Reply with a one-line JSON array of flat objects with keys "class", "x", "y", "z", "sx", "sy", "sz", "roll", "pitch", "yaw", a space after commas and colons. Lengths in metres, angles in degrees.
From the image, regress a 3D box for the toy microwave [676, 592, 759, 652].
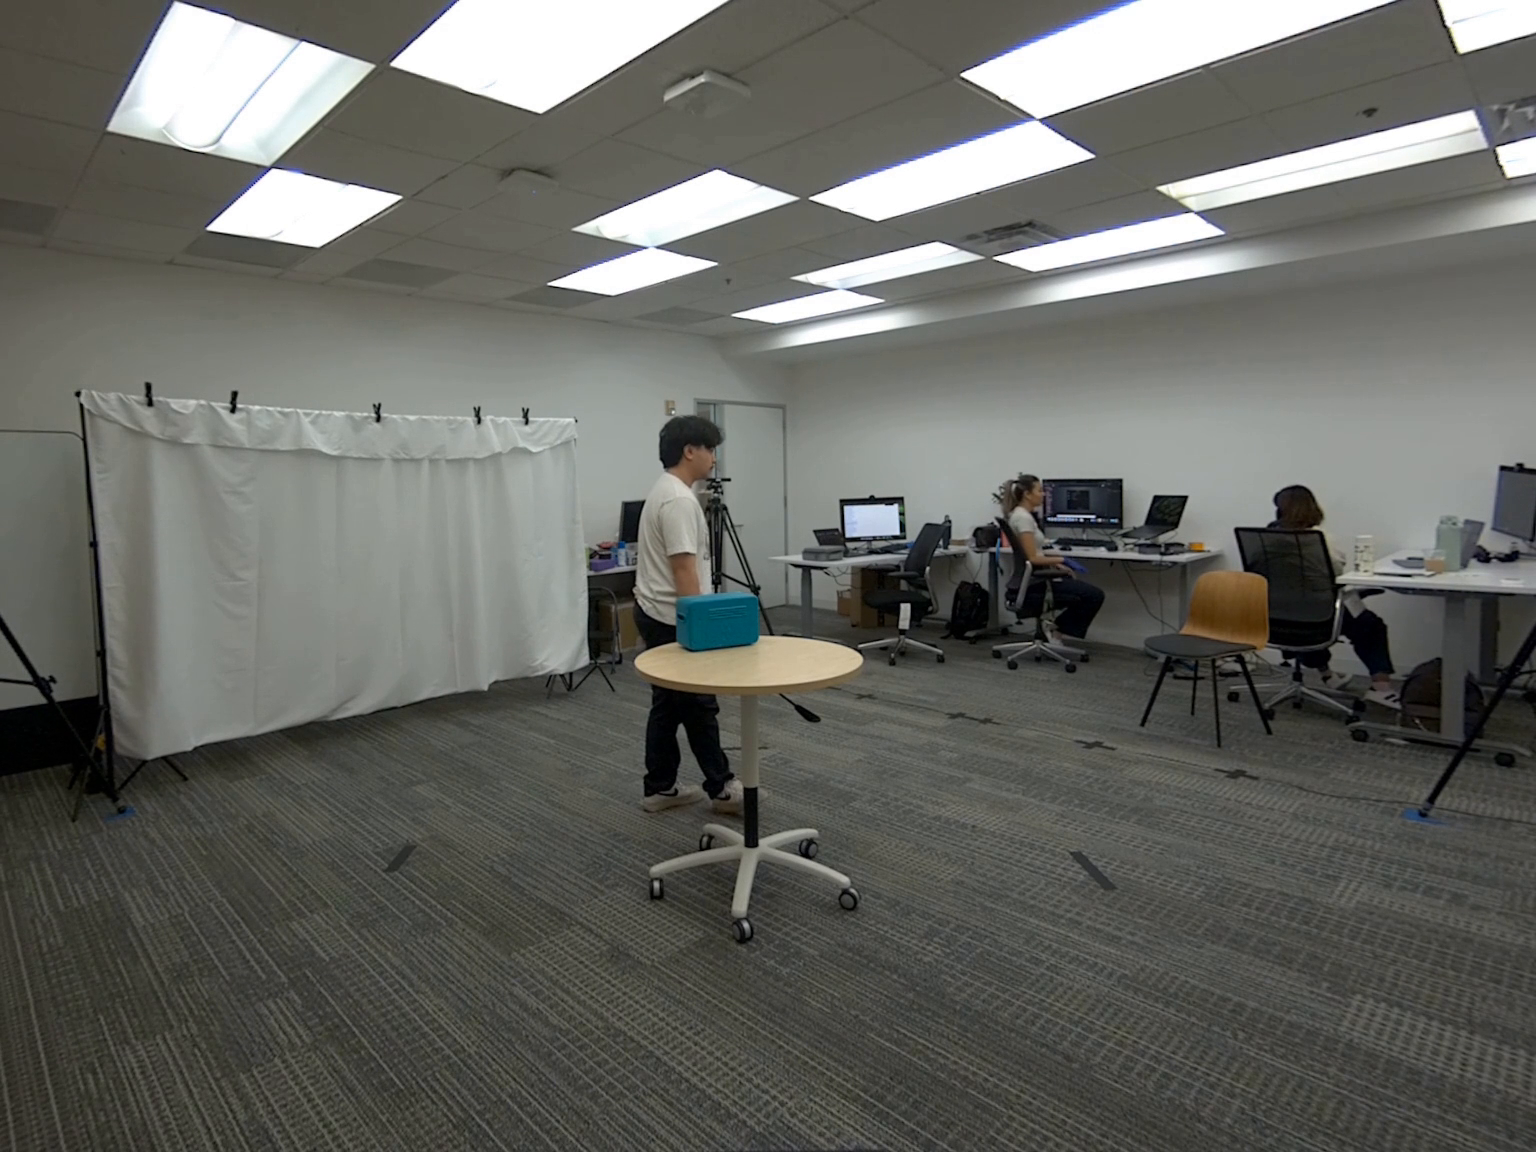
[{"class": "toy microwave", "x": -0.187, "y": 0.159, "z": 3.093, "sx": 0.280, "sy": 0.183, "sz": 0.156, "roll": -4, "pitch": 6, "yaw": -28}]
